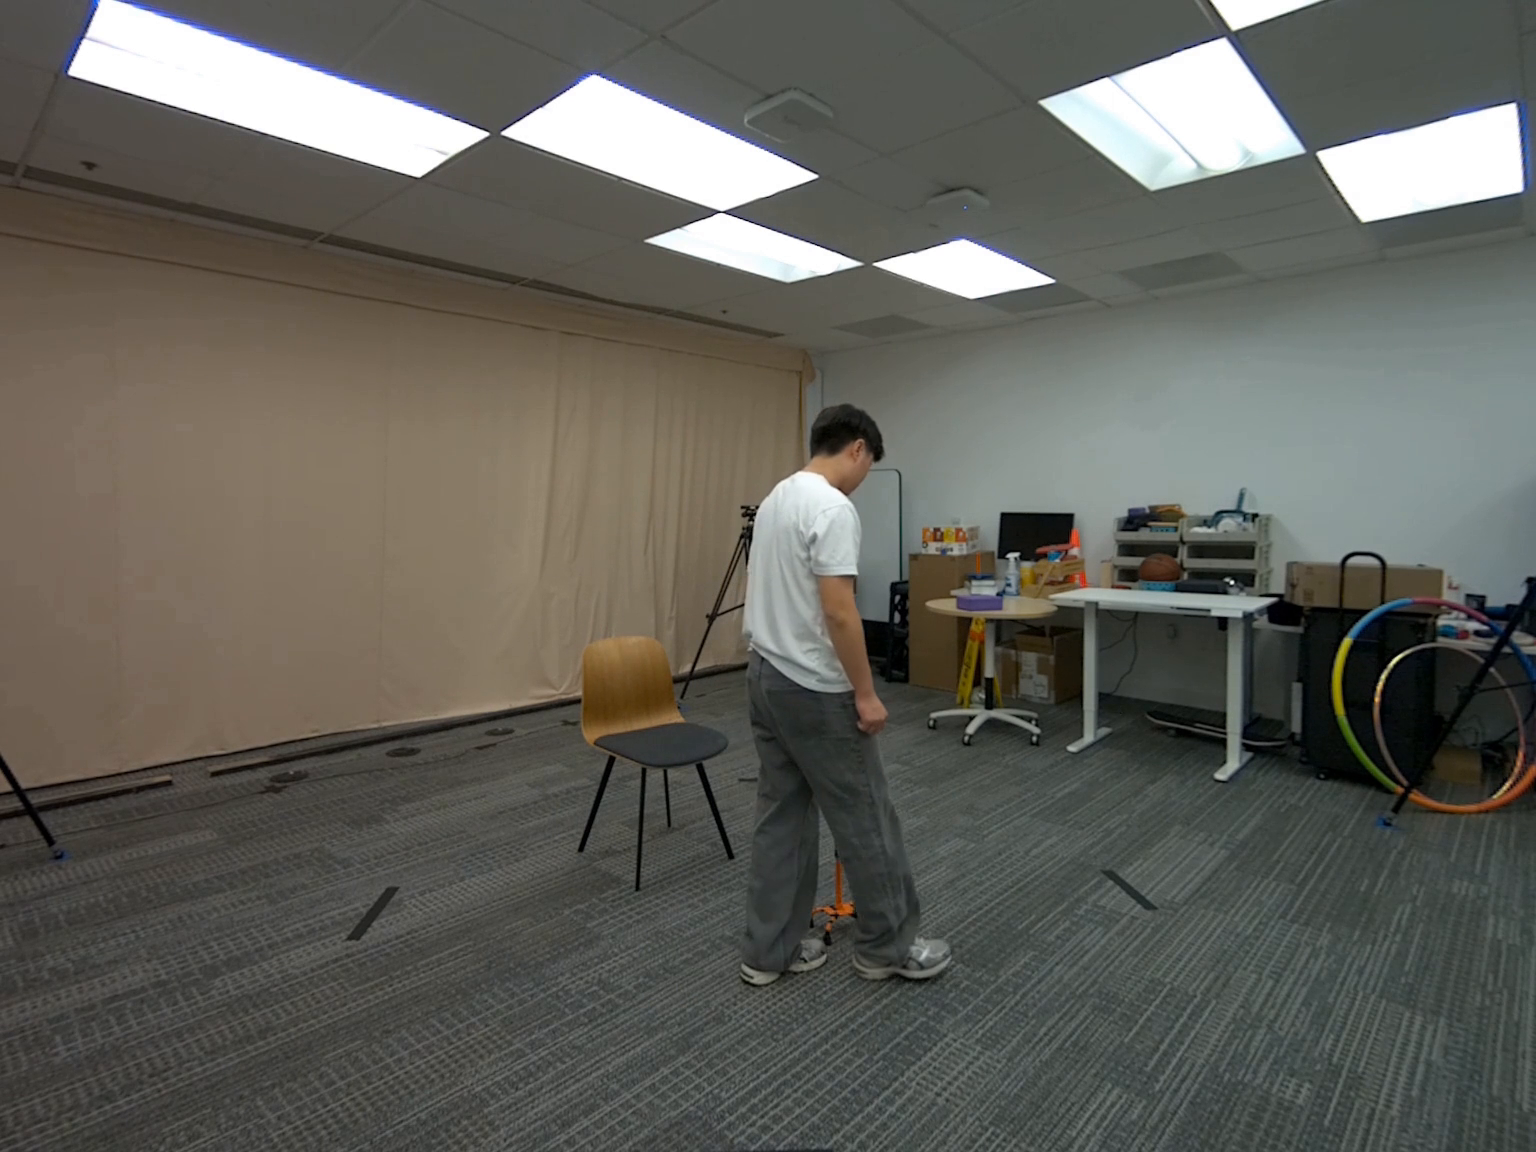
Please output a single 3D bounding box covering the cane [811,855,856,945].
[{"bbox_3d":[0.251,0.713,2.750,0.202,0.907,0.155,-2,1,-21],"label":"cane"}]
